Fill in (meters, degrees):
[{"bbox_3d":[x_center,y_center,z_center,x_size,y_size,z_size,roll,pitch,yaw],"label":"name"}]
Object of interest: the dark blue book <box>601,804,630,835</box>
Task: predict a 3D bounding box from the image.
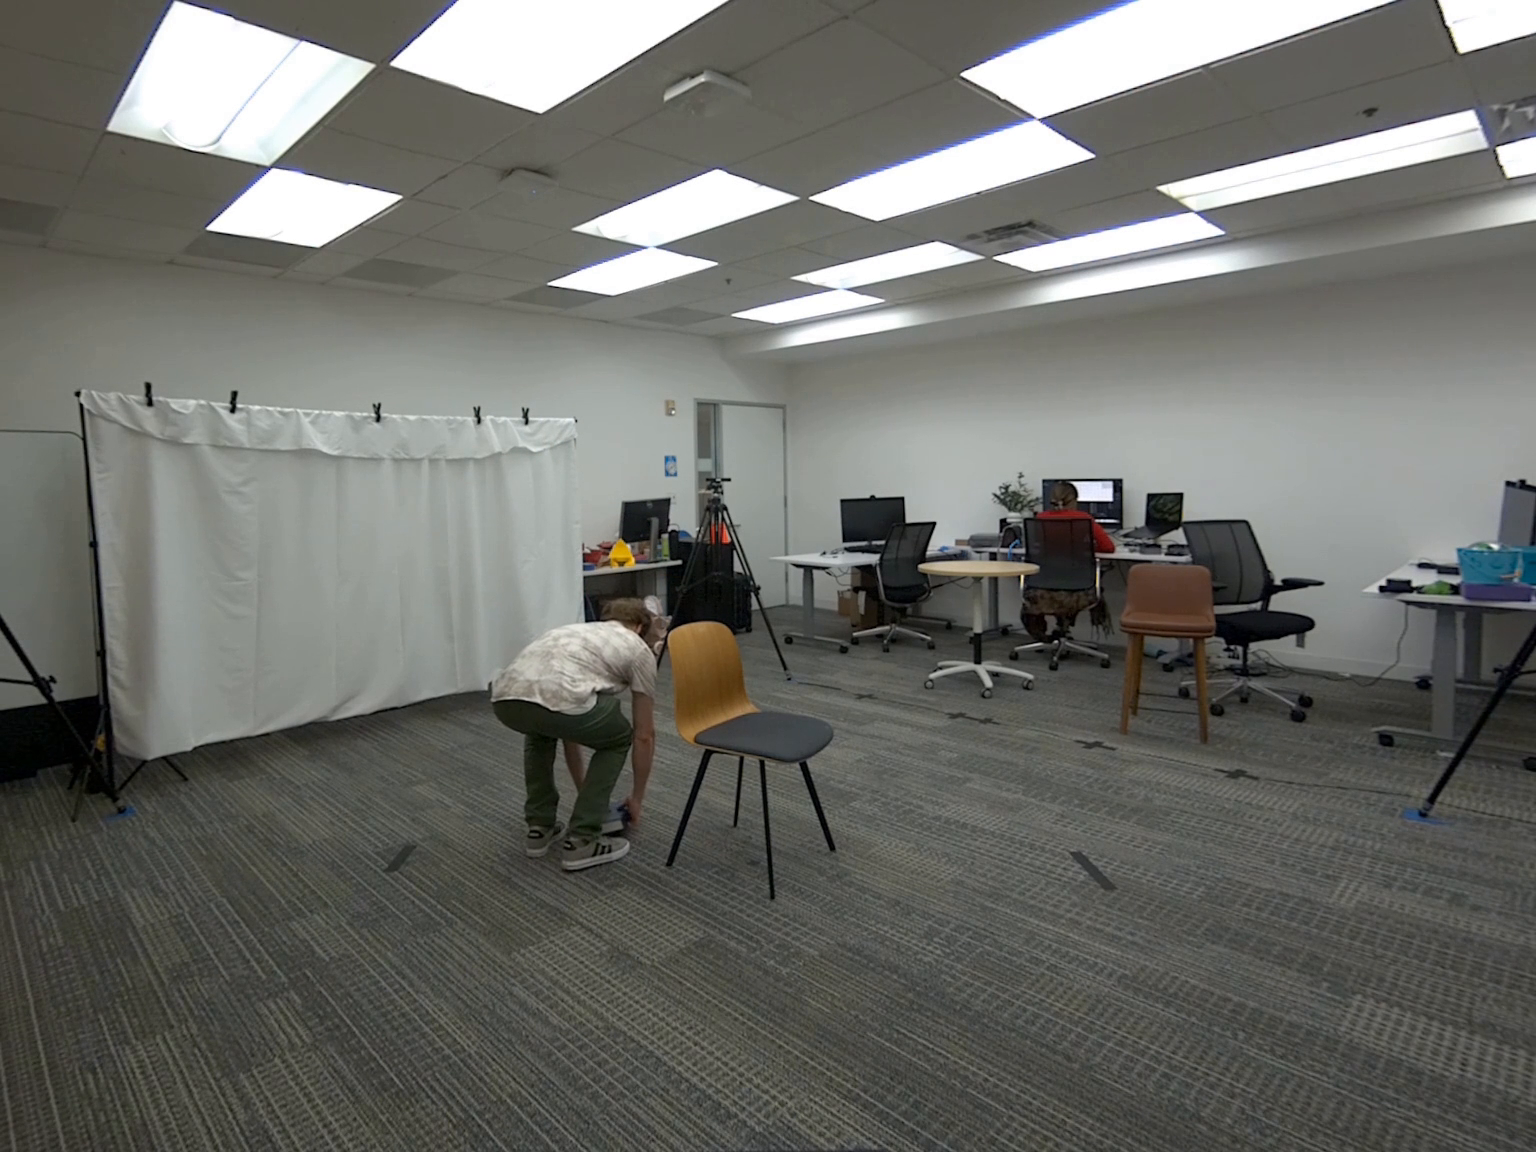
[{"bbox_3d":[-0.632,0.976,3.449,0.164,0.045,0.245,-15,5,5],"label":"dark blue book"}]
